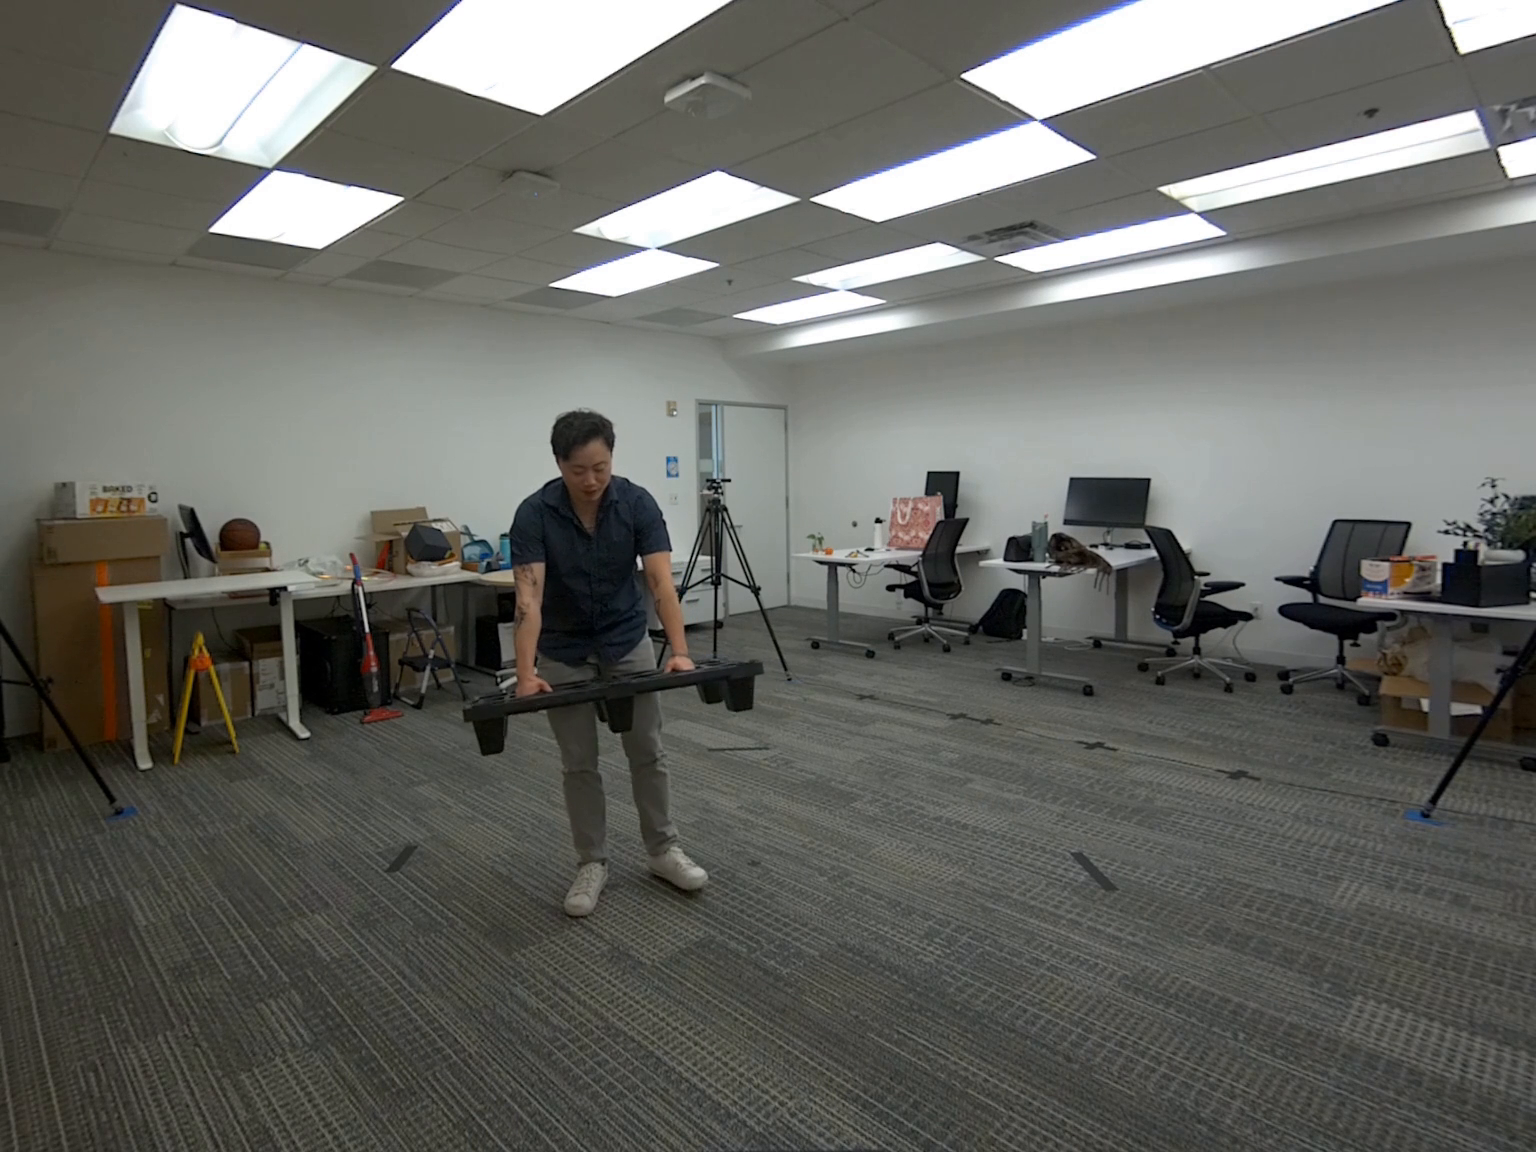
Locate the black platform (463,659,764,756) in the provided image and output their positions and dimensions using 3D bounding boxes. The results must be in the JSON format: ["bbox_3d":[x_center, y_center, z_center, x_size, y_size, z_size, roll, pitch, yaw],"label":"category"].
[{"bbox_3d":[-0.460,0.382,2.518,0.796,0.144,0.609,-7,-4,-15],"label":"black platform"}]
